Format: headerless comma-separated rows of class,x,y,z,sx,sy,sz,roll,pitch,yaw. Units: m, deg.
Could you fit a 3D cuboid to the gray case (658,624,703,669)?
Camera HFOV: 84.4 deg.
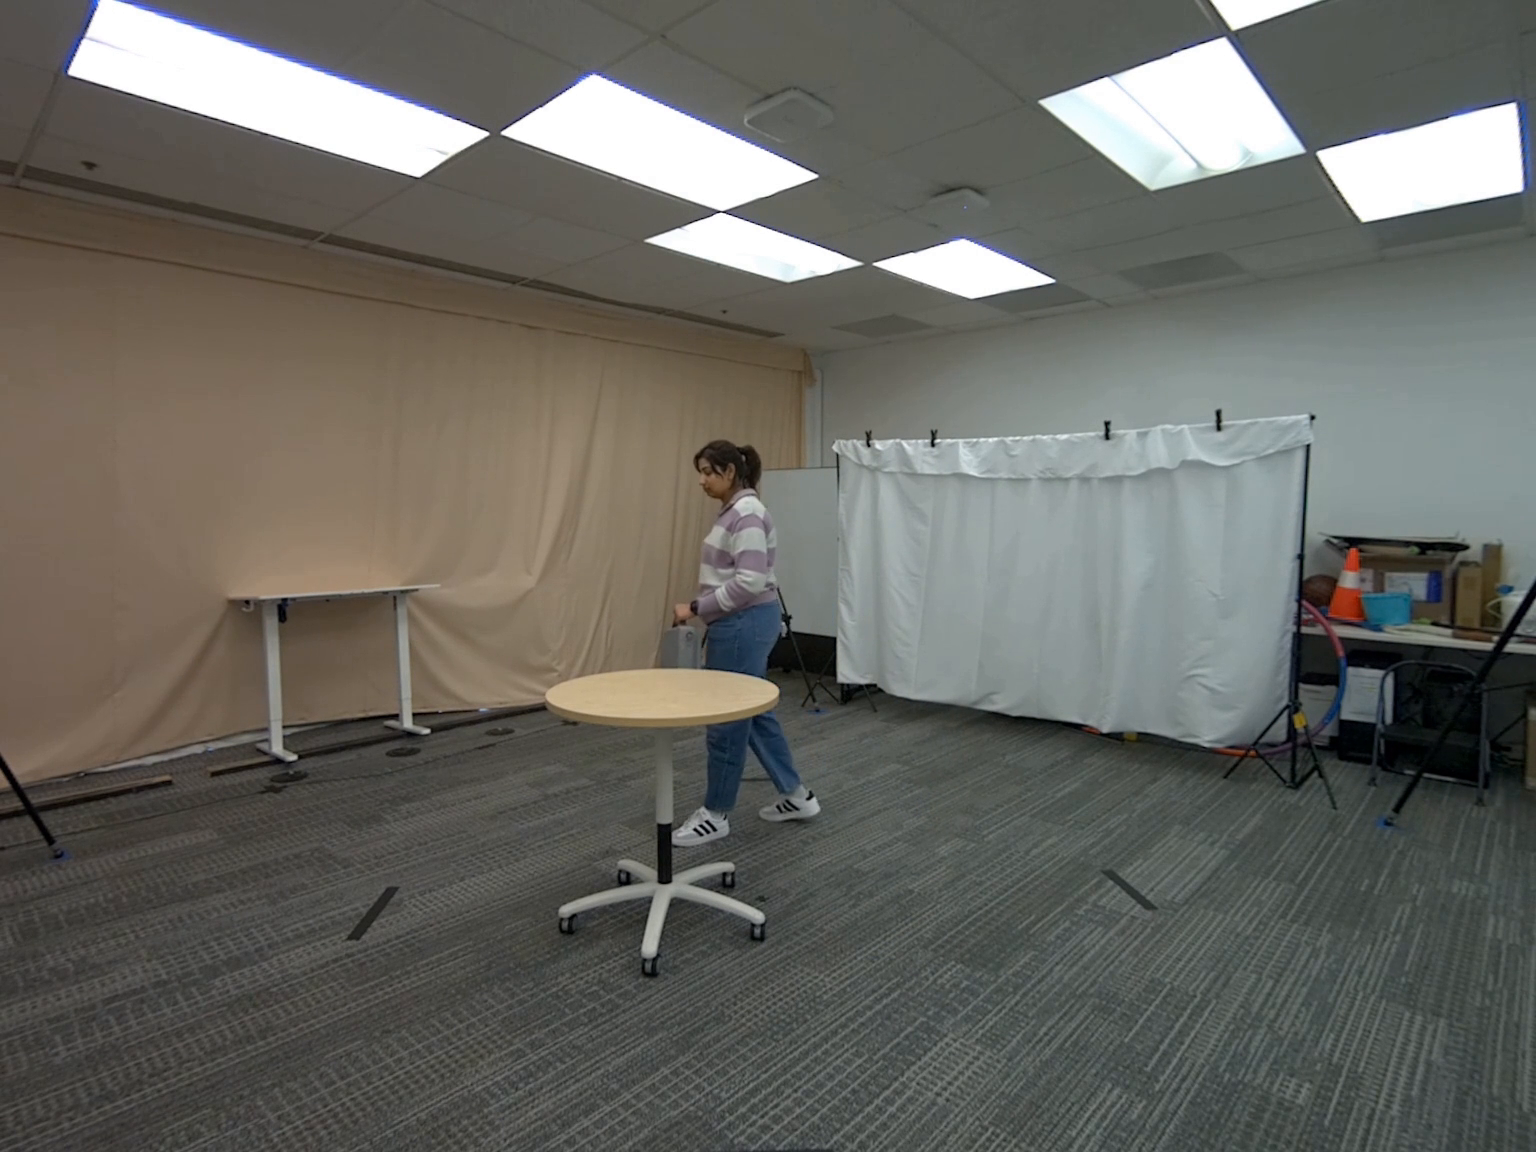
gray case,-0.363,0.329,3.454,0.102,0.262,0.261,6,-10,-23
